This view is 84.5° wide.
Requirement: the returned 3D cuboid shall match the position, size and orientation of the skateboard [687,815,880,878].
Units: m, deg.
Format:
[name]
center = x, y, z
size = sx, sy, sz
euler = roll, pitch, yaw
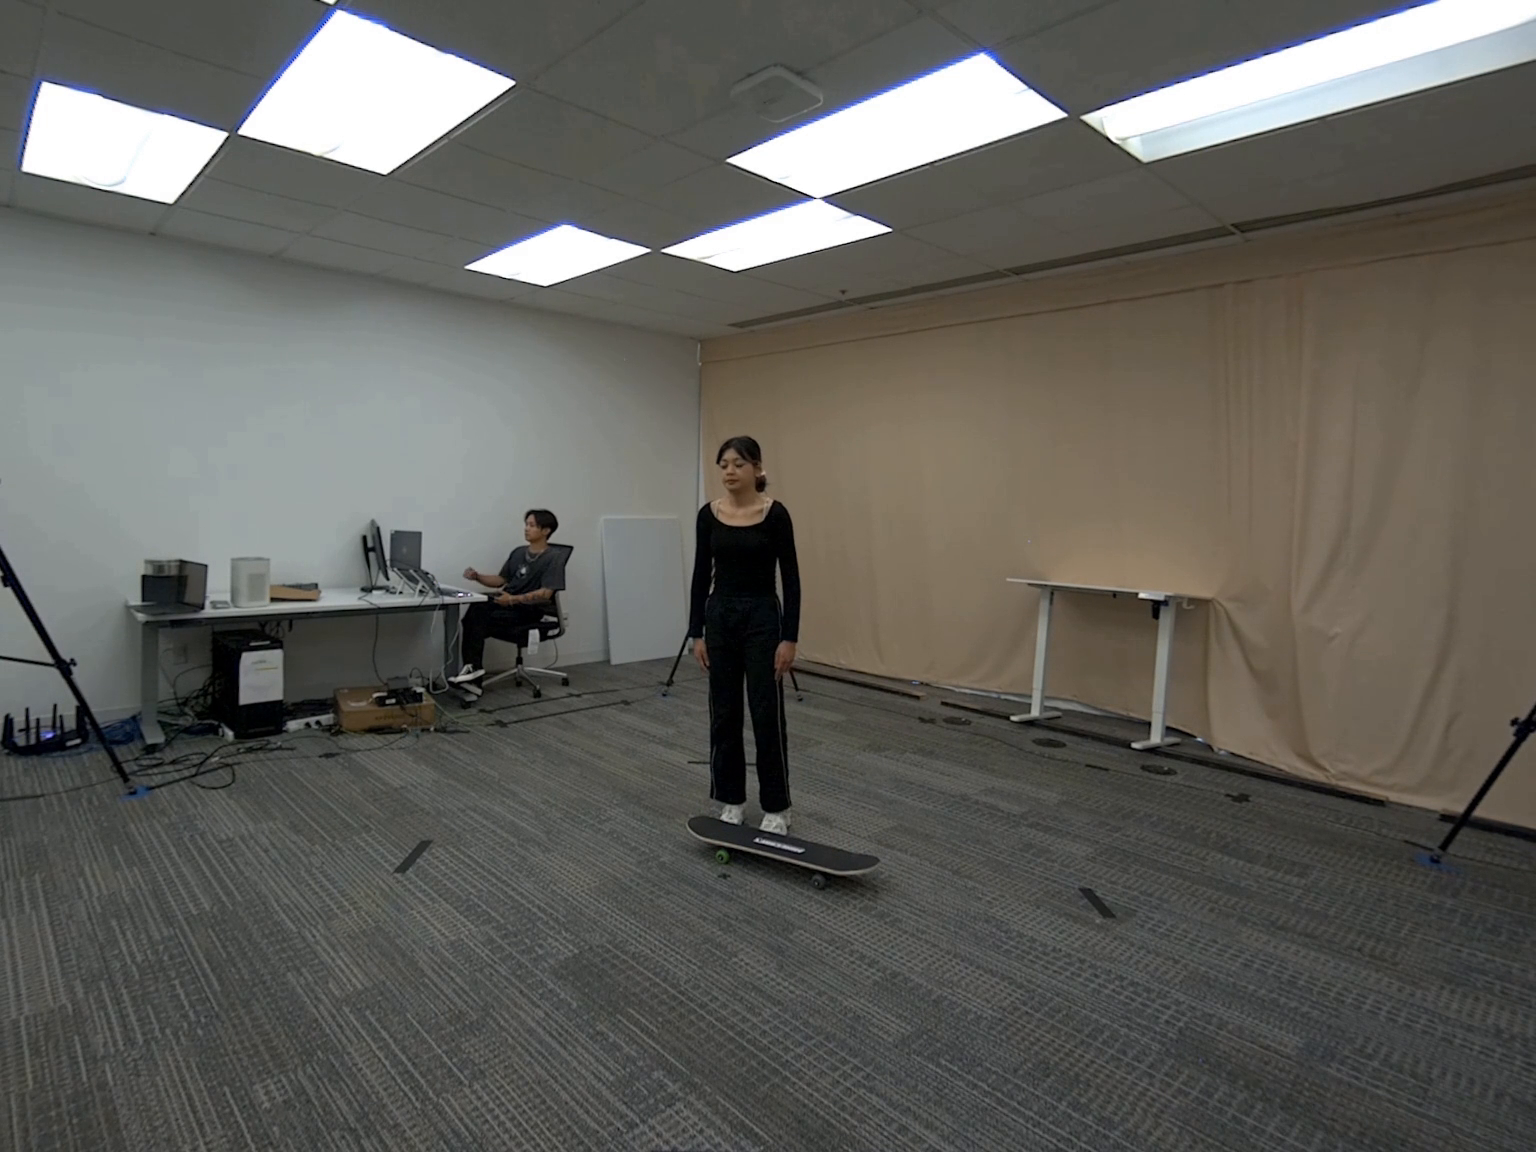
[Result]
[skateboard]
center = 0.029, 1.046, 3.180
size = 0.802, 0.110, 0.190
euler = 4, 5, 29
